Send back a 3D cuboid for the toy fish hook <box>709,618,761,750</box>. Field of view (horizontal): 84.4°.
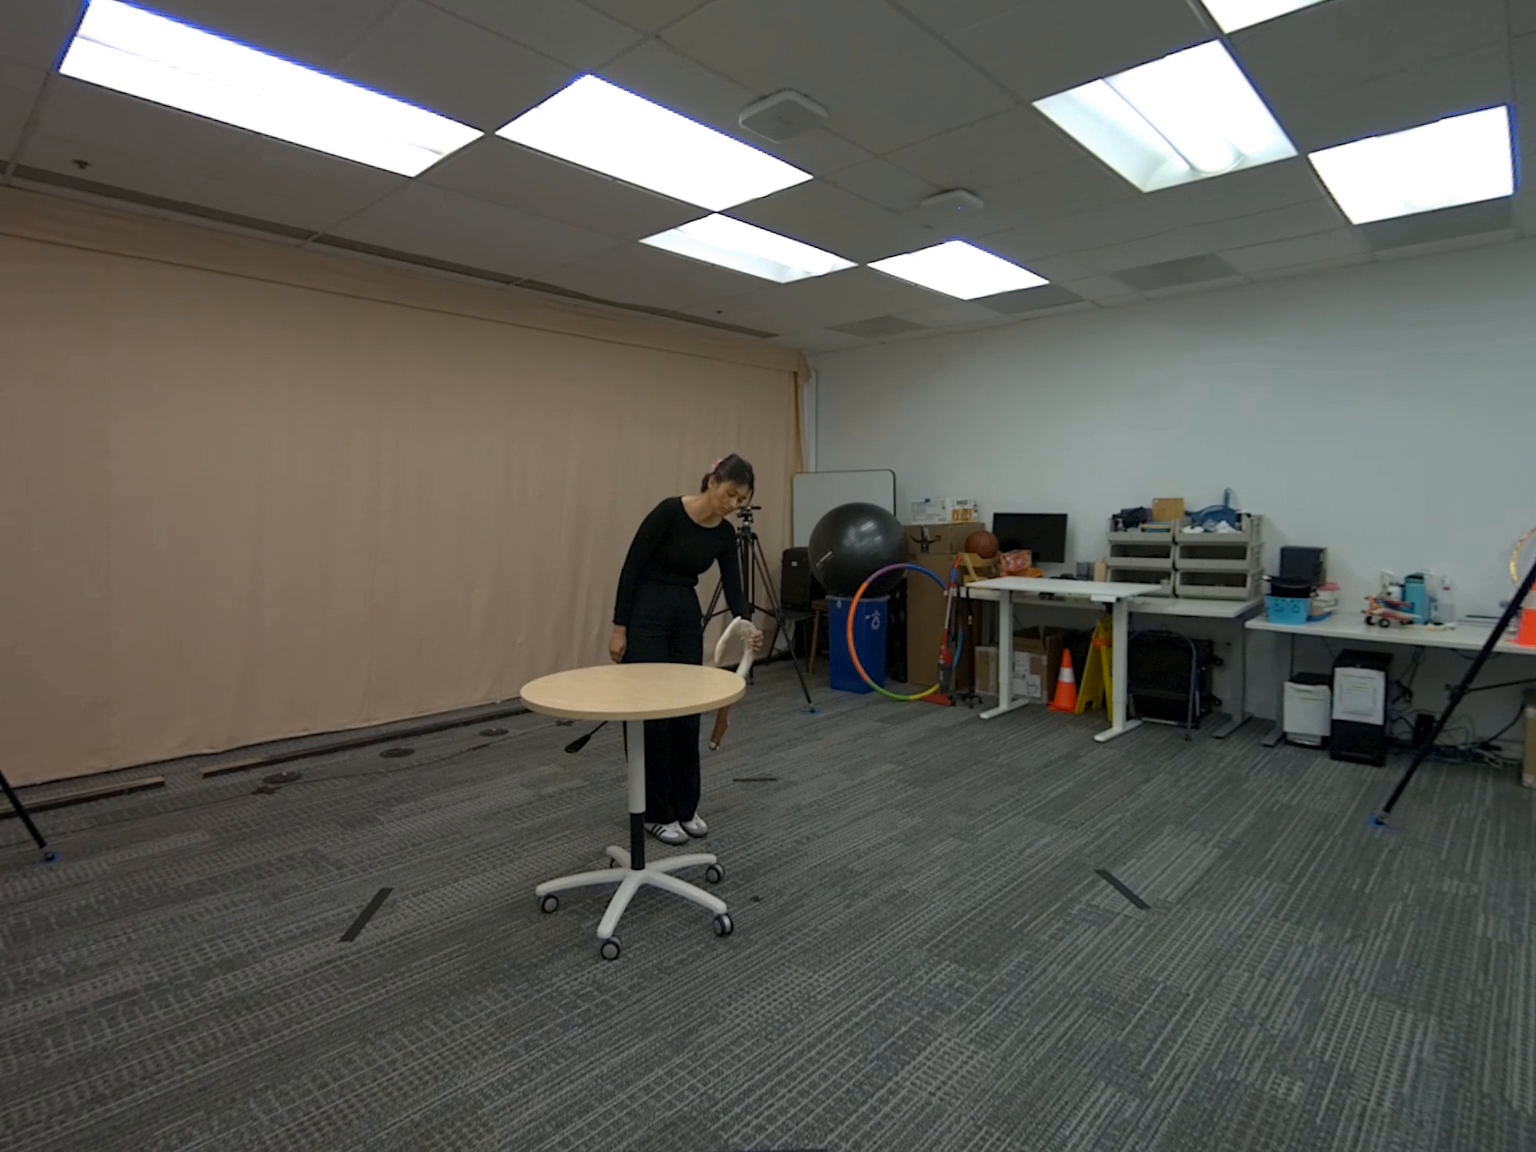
[{"bbox_3d":[-0.163,0.412,3.209,0.050,0.508,0.216,7,-15,45],"label":"toy fish hook"}]
